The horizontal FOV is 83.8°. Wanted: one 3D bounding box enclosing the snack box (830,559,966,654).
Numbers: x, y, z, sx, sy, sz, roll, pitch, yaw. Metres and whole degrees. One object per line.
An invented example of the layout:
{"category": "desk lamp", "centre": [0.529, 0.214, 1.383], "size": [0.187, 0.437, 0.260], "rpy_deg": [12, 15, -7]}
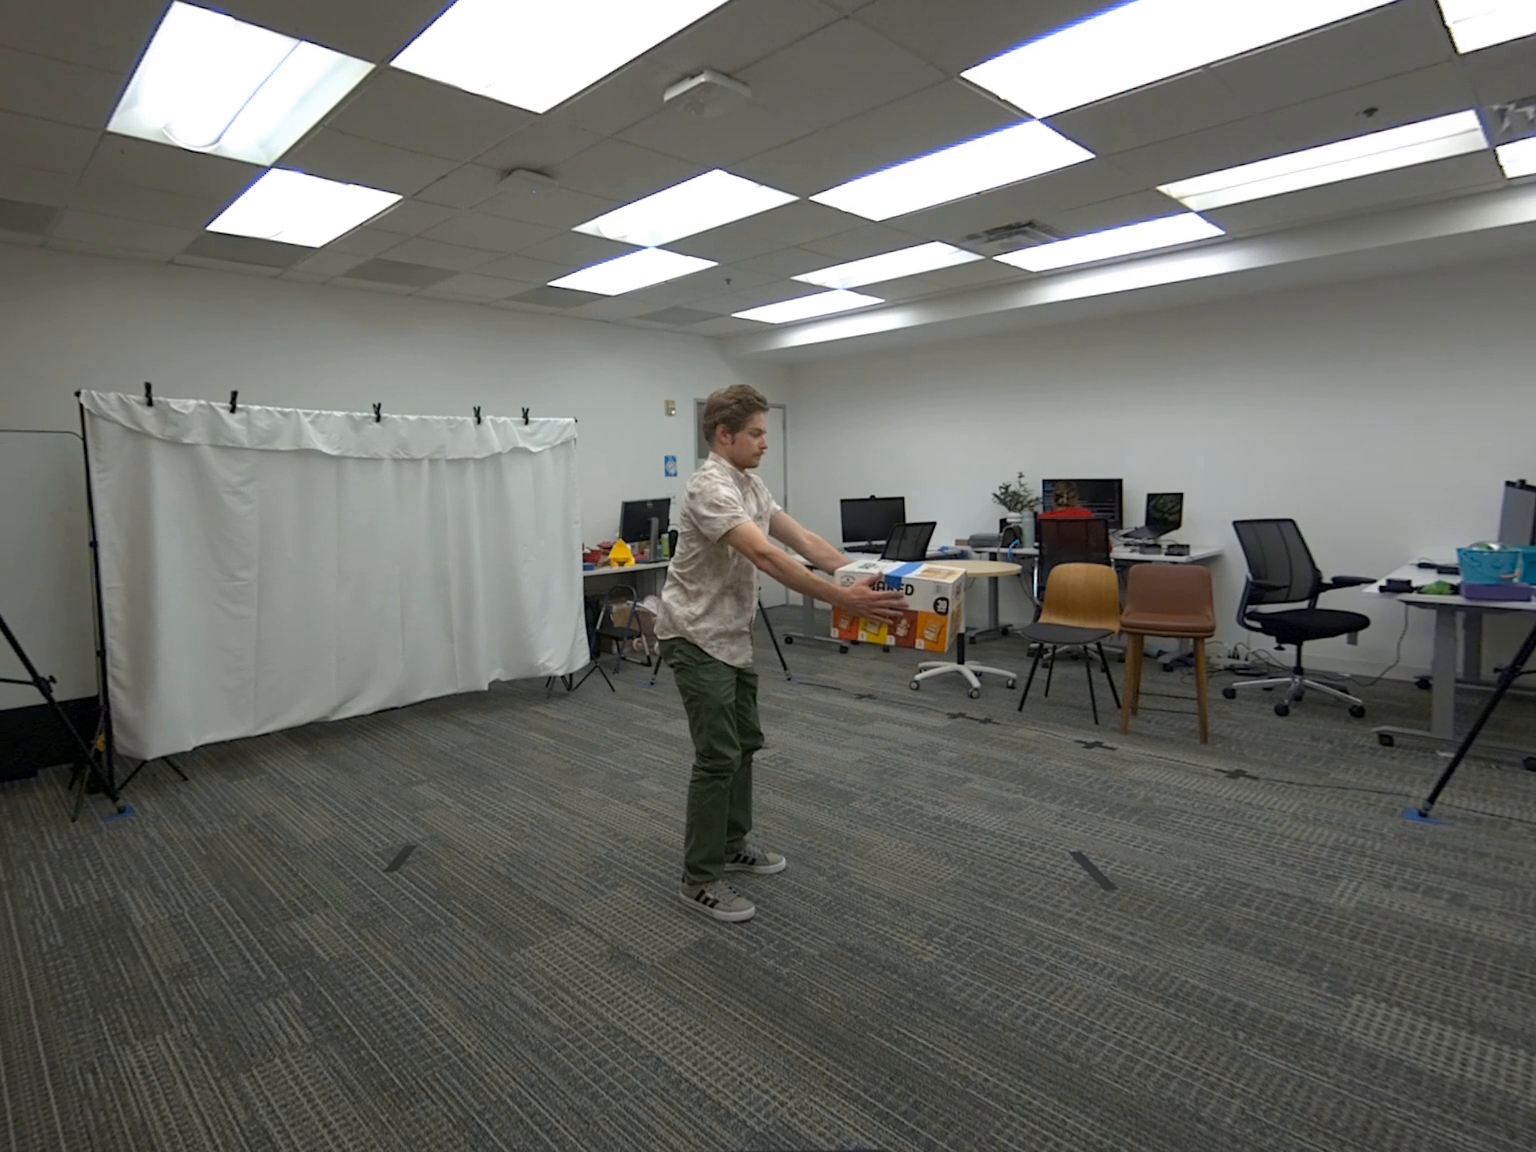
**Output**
{"category": "snack box", "centre": [0.413, 0.083, 2.649], "size": [0.347, 0.204, 0.399], "rpy_deg": [6, 8, 19]}
